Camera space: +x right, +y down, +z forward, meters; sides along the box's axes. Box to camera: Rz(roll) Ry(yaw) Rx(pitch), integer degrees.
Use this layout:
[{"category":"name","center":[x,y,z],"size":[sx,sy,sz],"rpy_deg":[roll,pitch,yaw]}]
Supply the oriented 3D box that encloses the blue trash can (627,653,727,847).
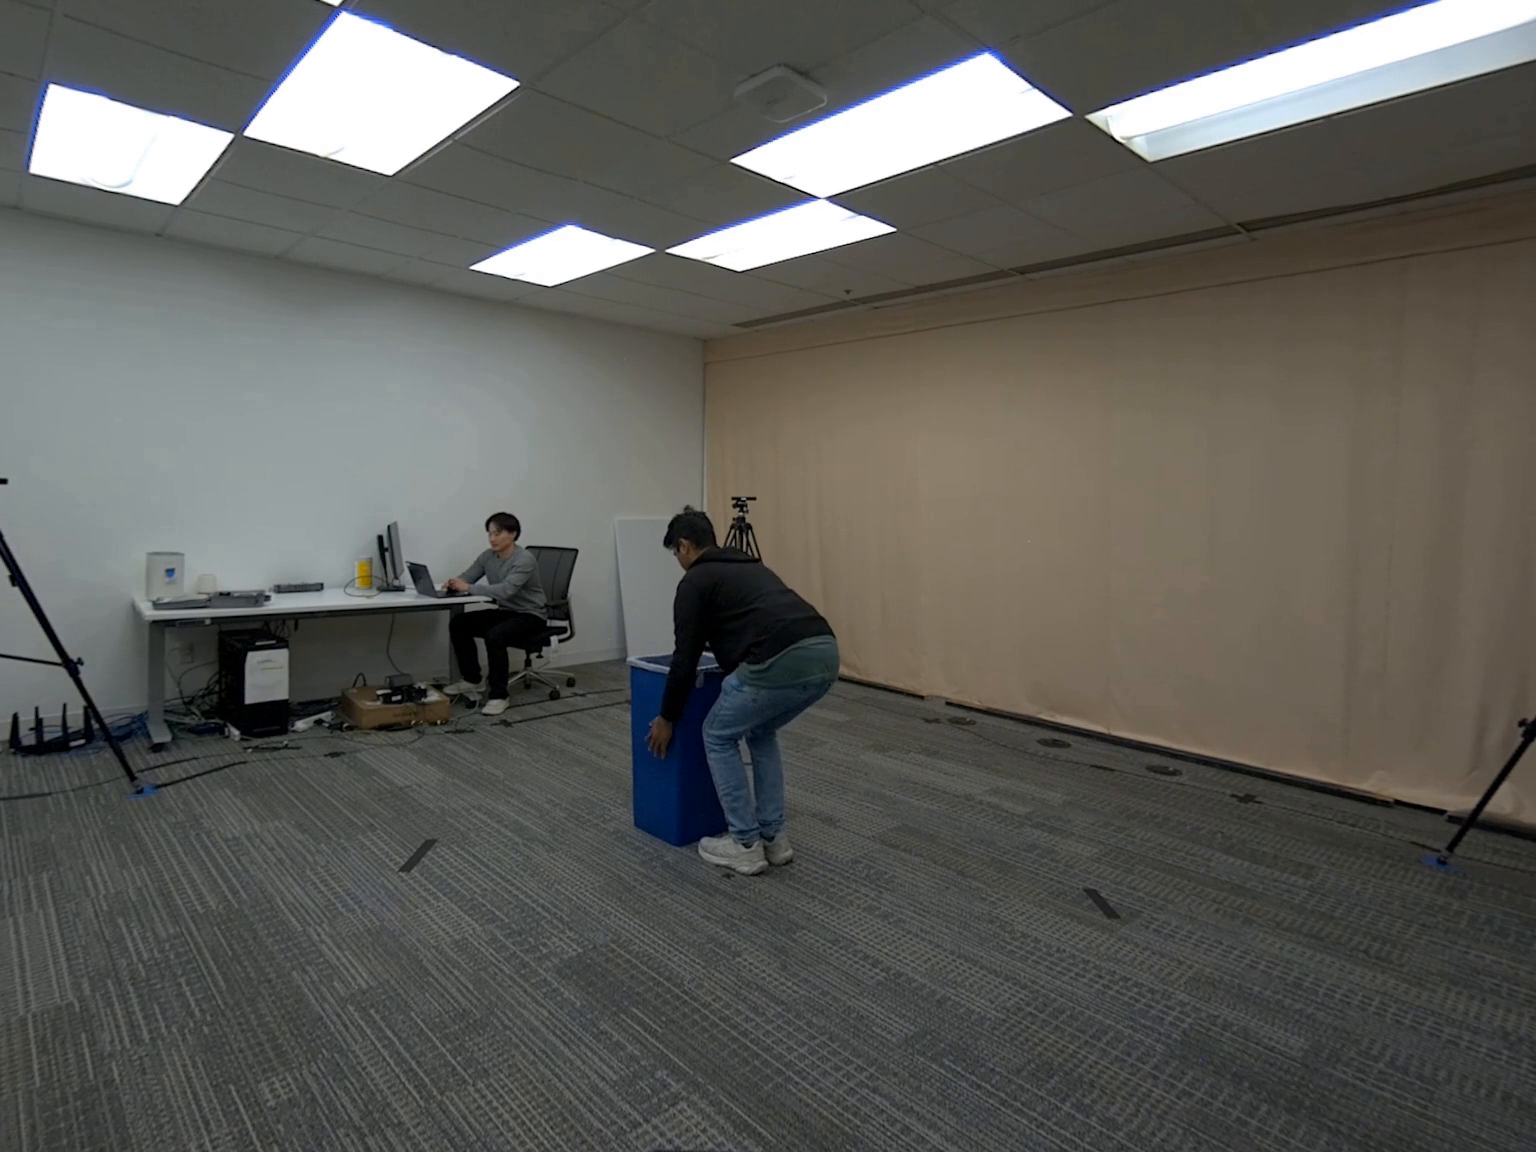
[{"category":"blue trash can","center":[-0.368,0.705,3.543],"size":[0.369,0.712,0.383],"rpy_deg":[-1,4,-45]}]
